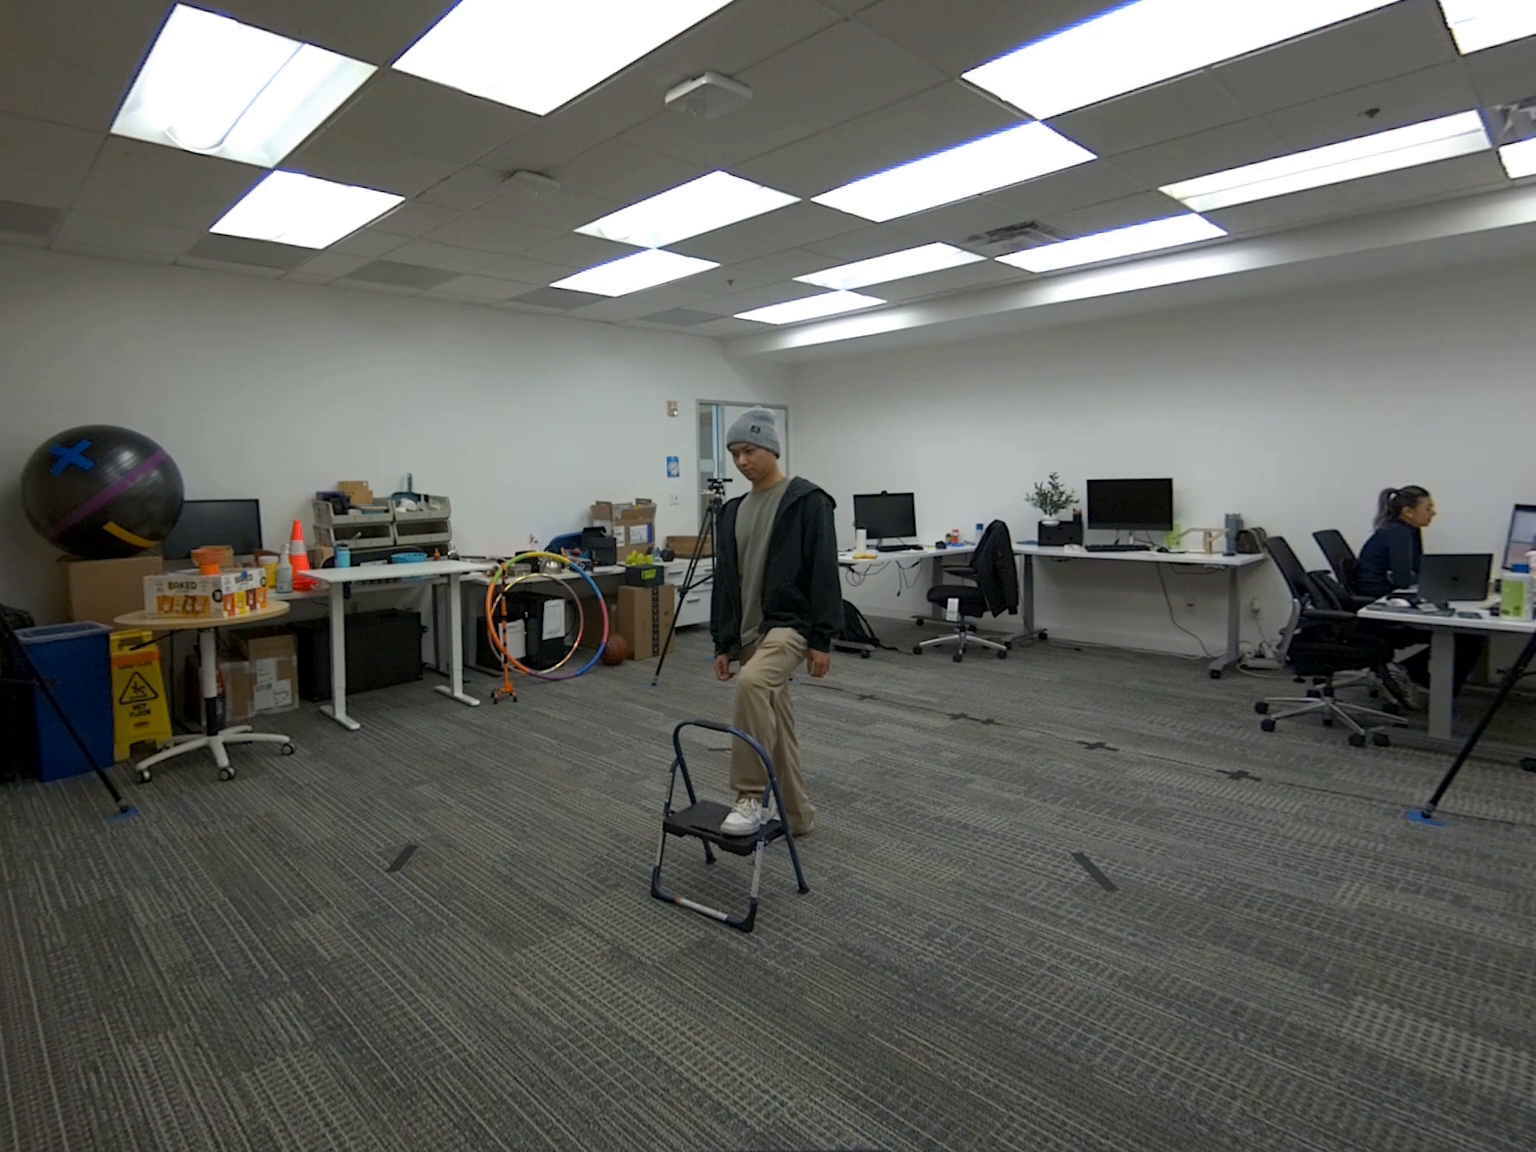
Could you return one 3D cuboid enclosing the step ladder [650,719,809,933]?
[{"bbox_3d":[-0.137,0.773,2.865,0.443,0.603,0.341,3,6,35],"label":"step ladder"}]
